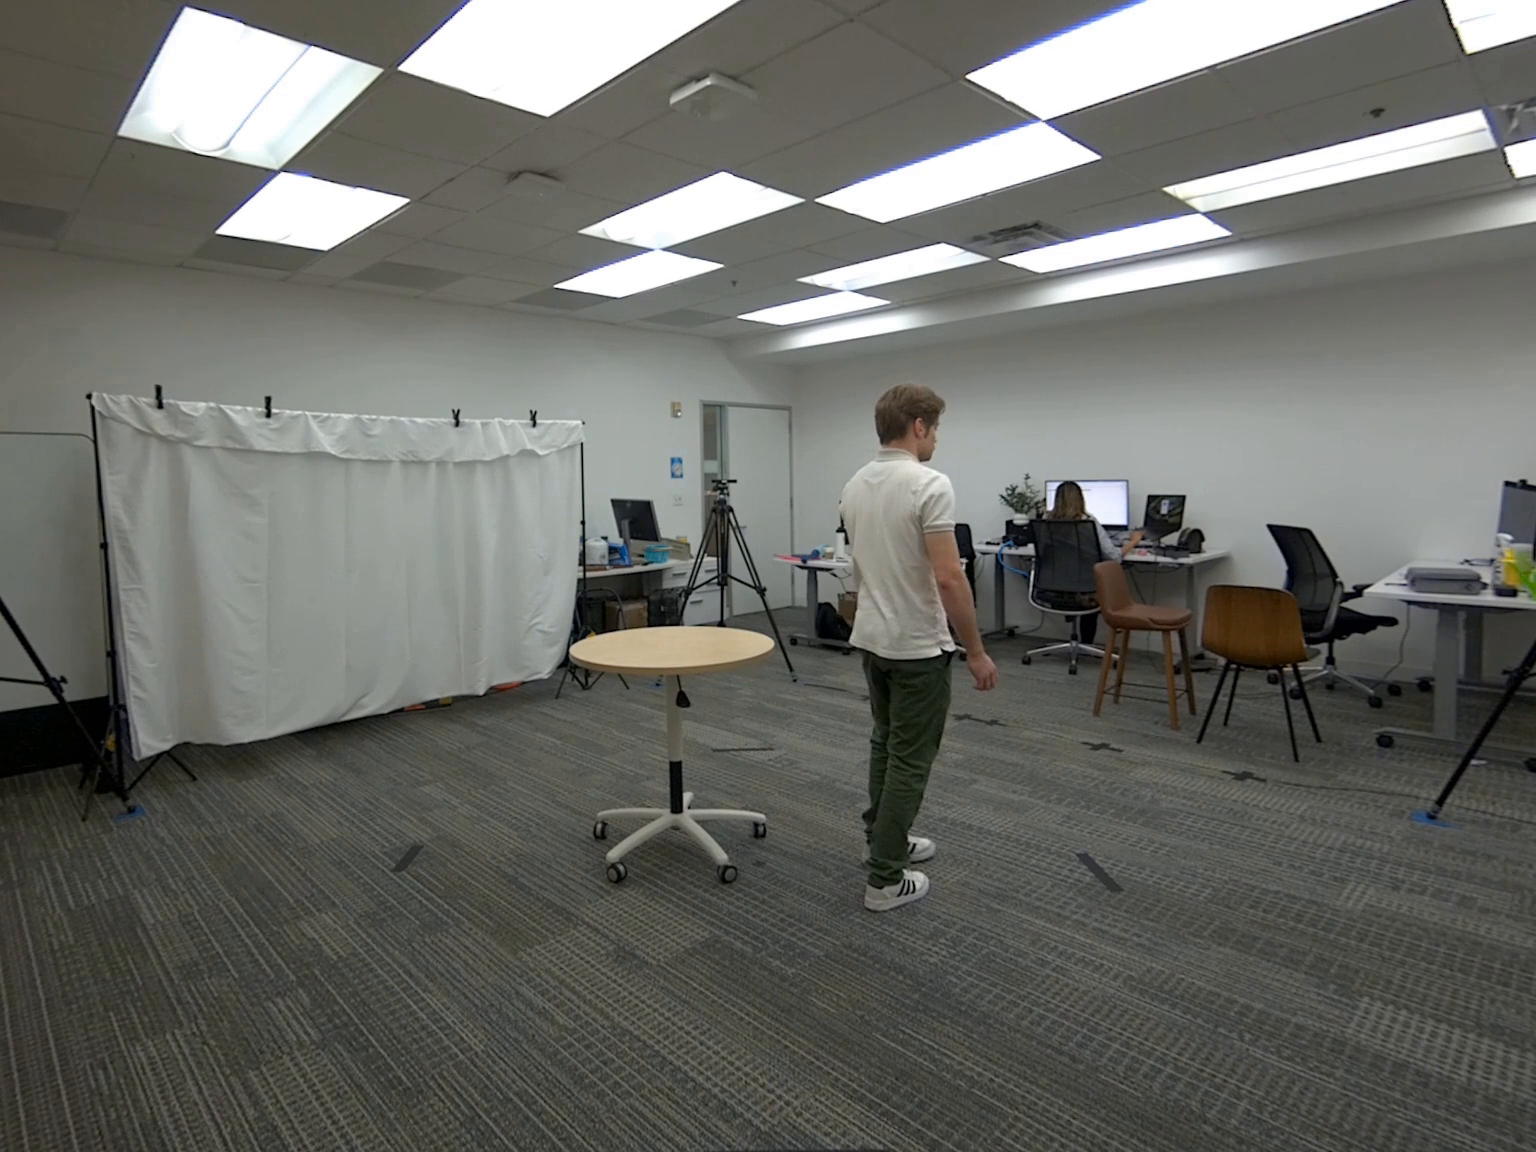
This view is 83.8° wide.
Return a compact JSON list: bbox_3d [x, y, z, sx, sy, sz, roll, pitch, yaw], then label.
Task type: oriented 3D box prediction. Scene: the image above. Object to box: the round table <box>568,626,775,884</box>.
[{"bbox_3d":[-0.351,0.649,3.238,0.763,0.791,0.768,-1,5,-2],"label":"round table"}]
